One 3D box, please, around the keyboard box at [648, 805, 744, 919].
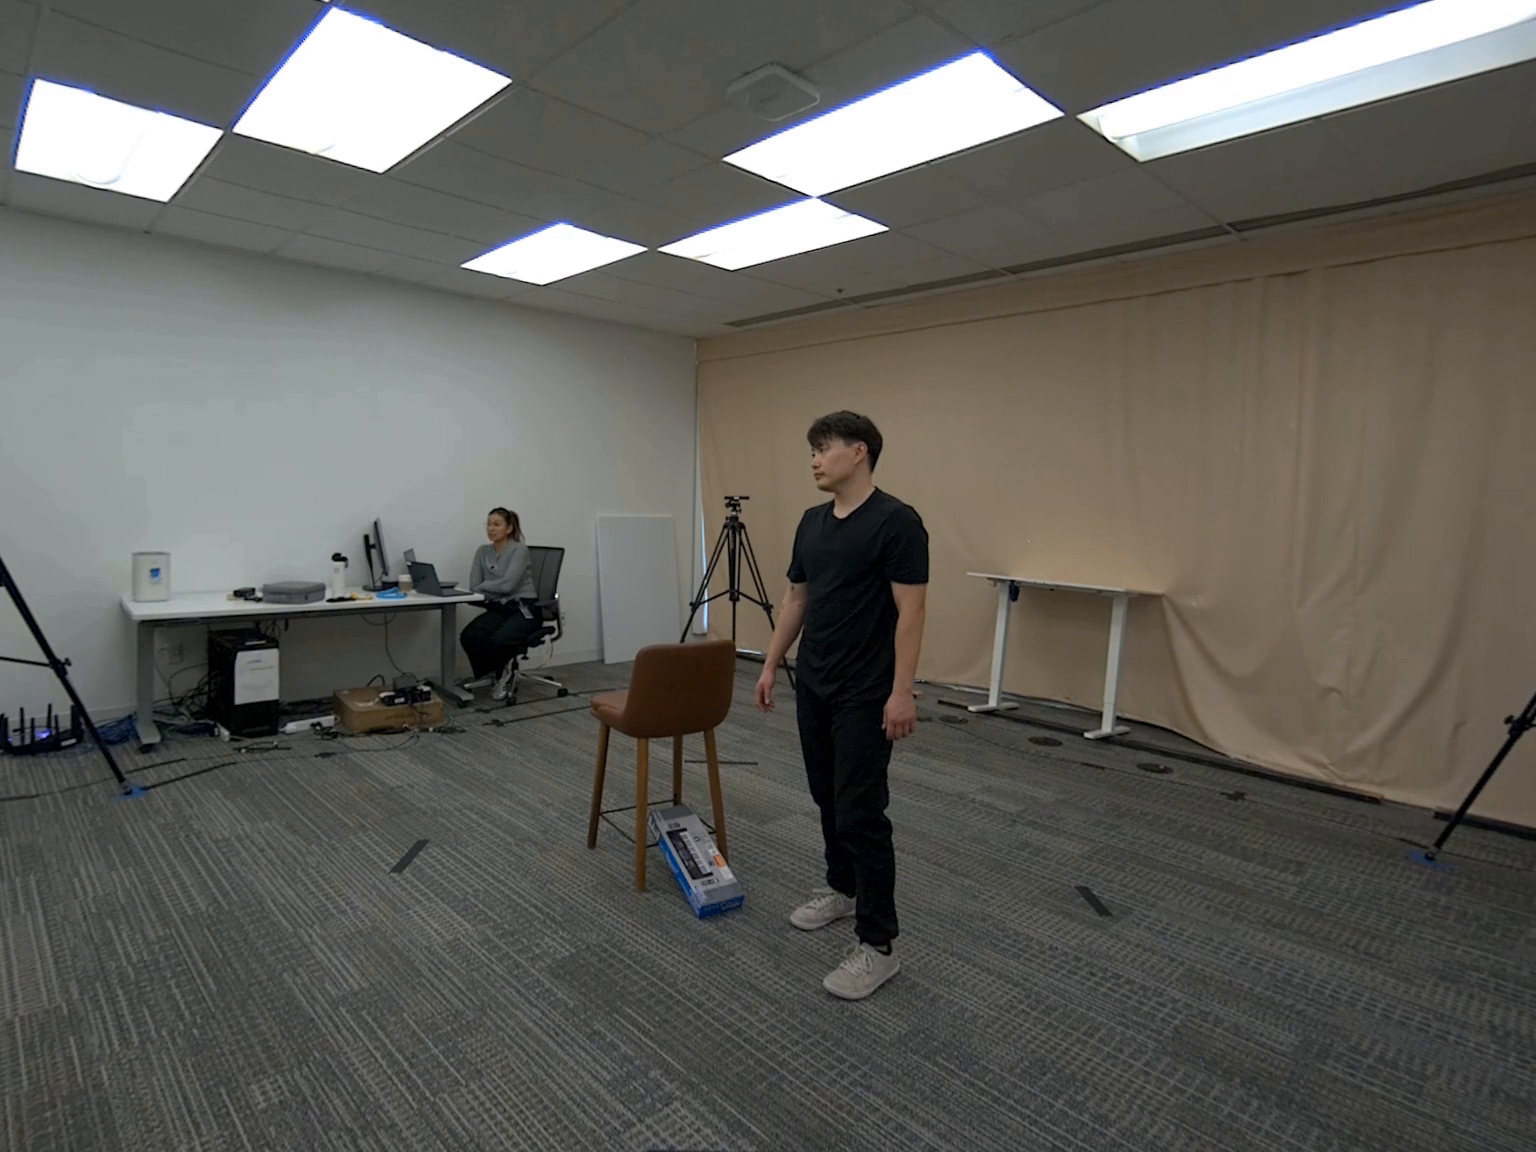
[{"bbox_3d":[-0.264,0.999,2.971,0.172,0.058,0.451,-2,31,-32],"label":"keyboard box"}]
